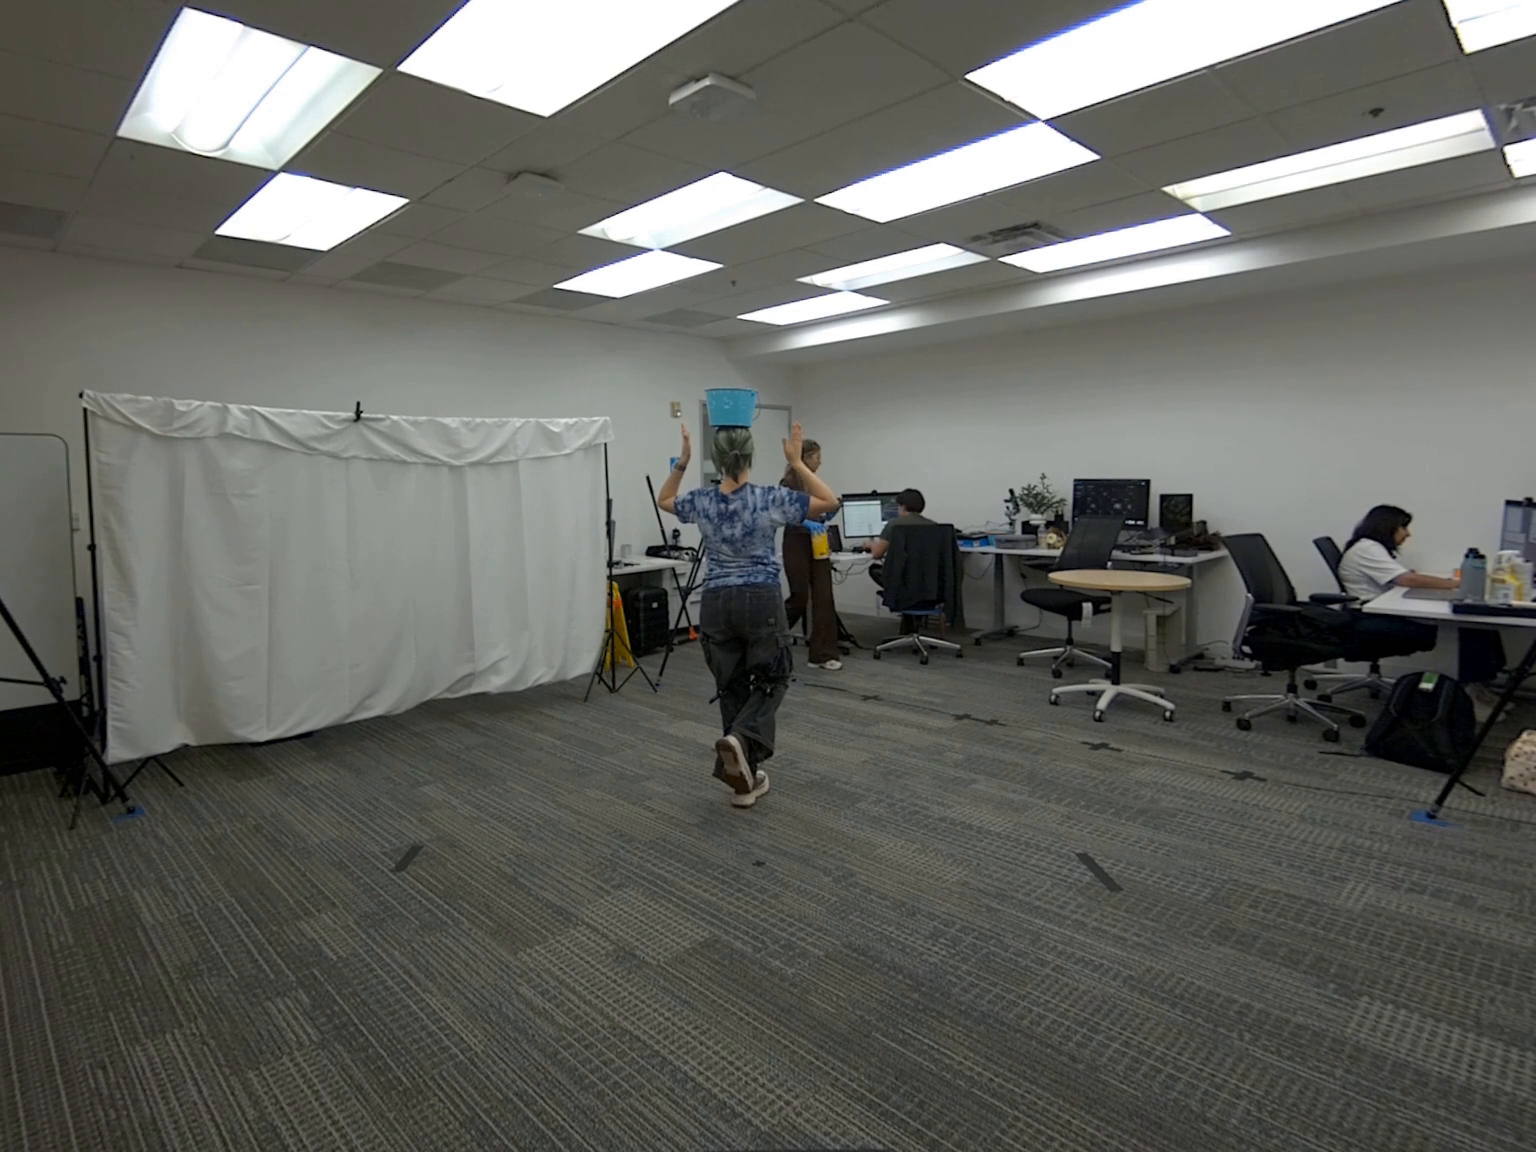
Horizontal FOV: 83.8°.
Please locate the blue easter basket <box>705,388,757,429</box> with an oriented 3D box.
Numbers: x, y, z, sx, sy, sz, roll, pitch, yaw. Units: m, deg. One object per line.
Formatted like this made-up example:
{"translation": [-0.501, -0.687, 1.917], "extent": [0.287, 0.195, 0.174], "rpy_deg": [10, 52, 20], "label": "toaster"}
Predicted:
{"translation": [-0.160, -0.719, 3.666], "extent": [0.243, 0.155, 0.245], "rpy_deg": [1, 5, -2], "label": "blue easter basket"}
